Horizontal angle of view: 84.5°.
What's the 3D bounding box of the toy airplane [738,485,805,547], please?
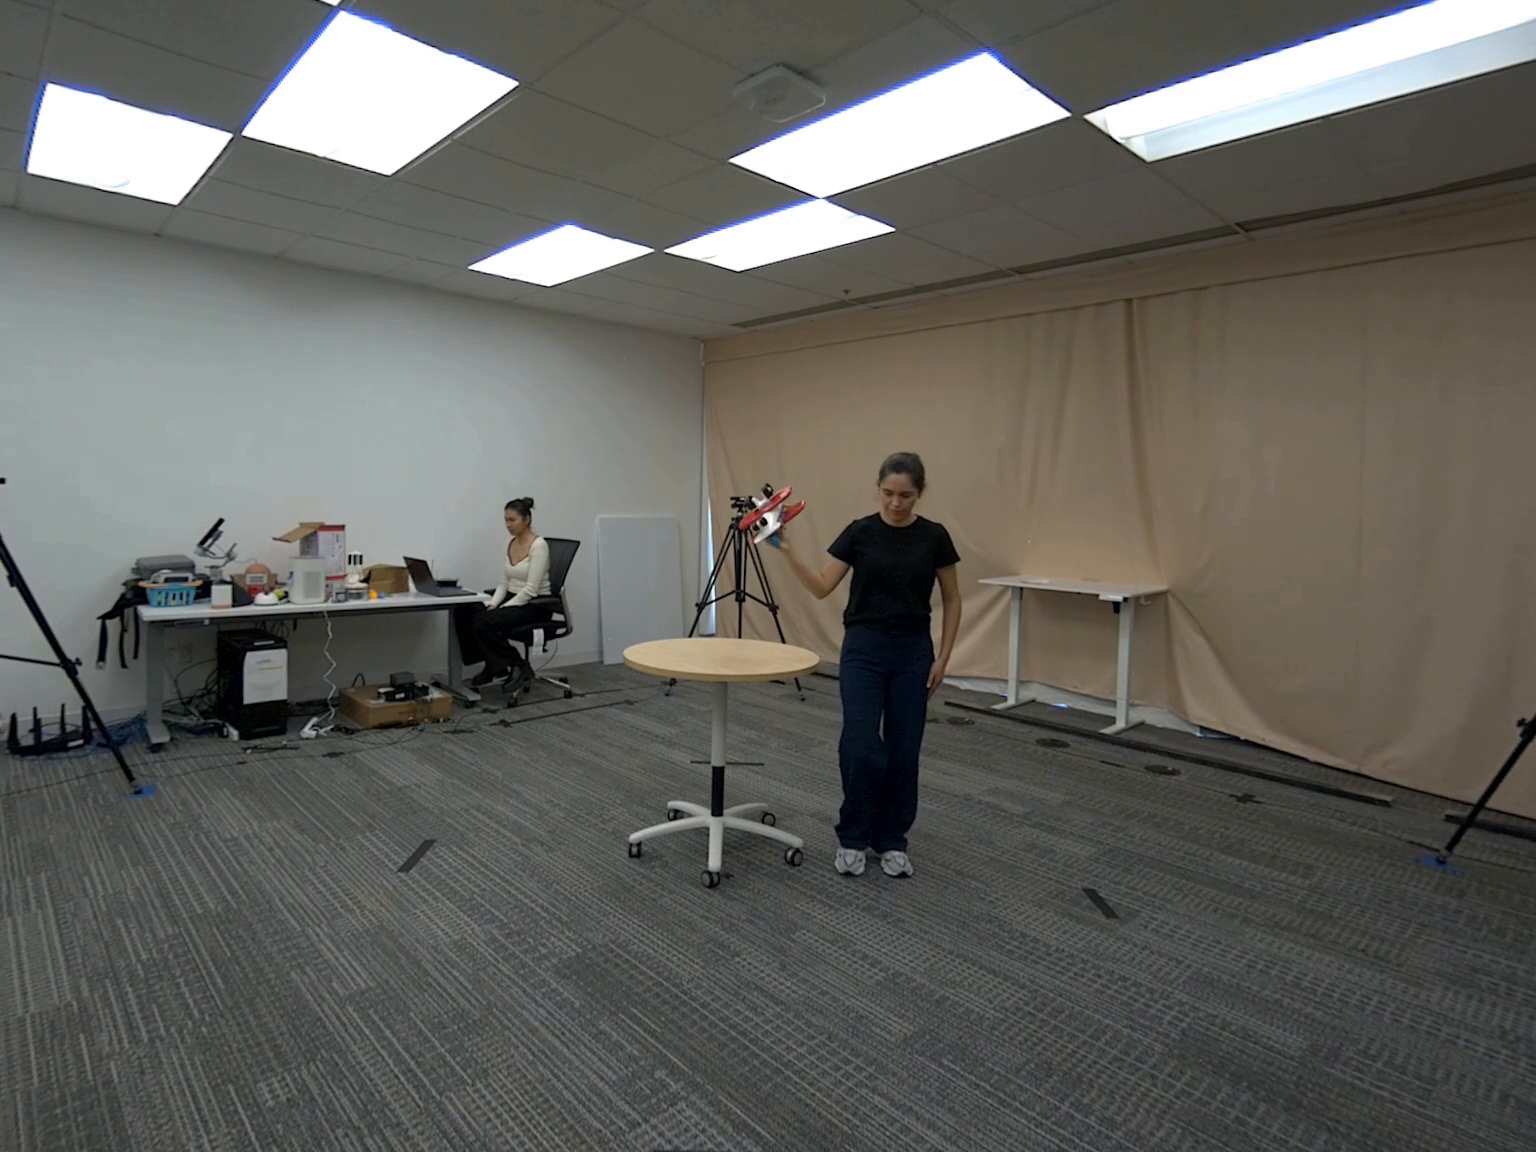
[{"bbox_3d":[-0.011,-0.210,3.123,0.256,0.262,0.152,-12,-43,45],"label":"toy airplane"}]
